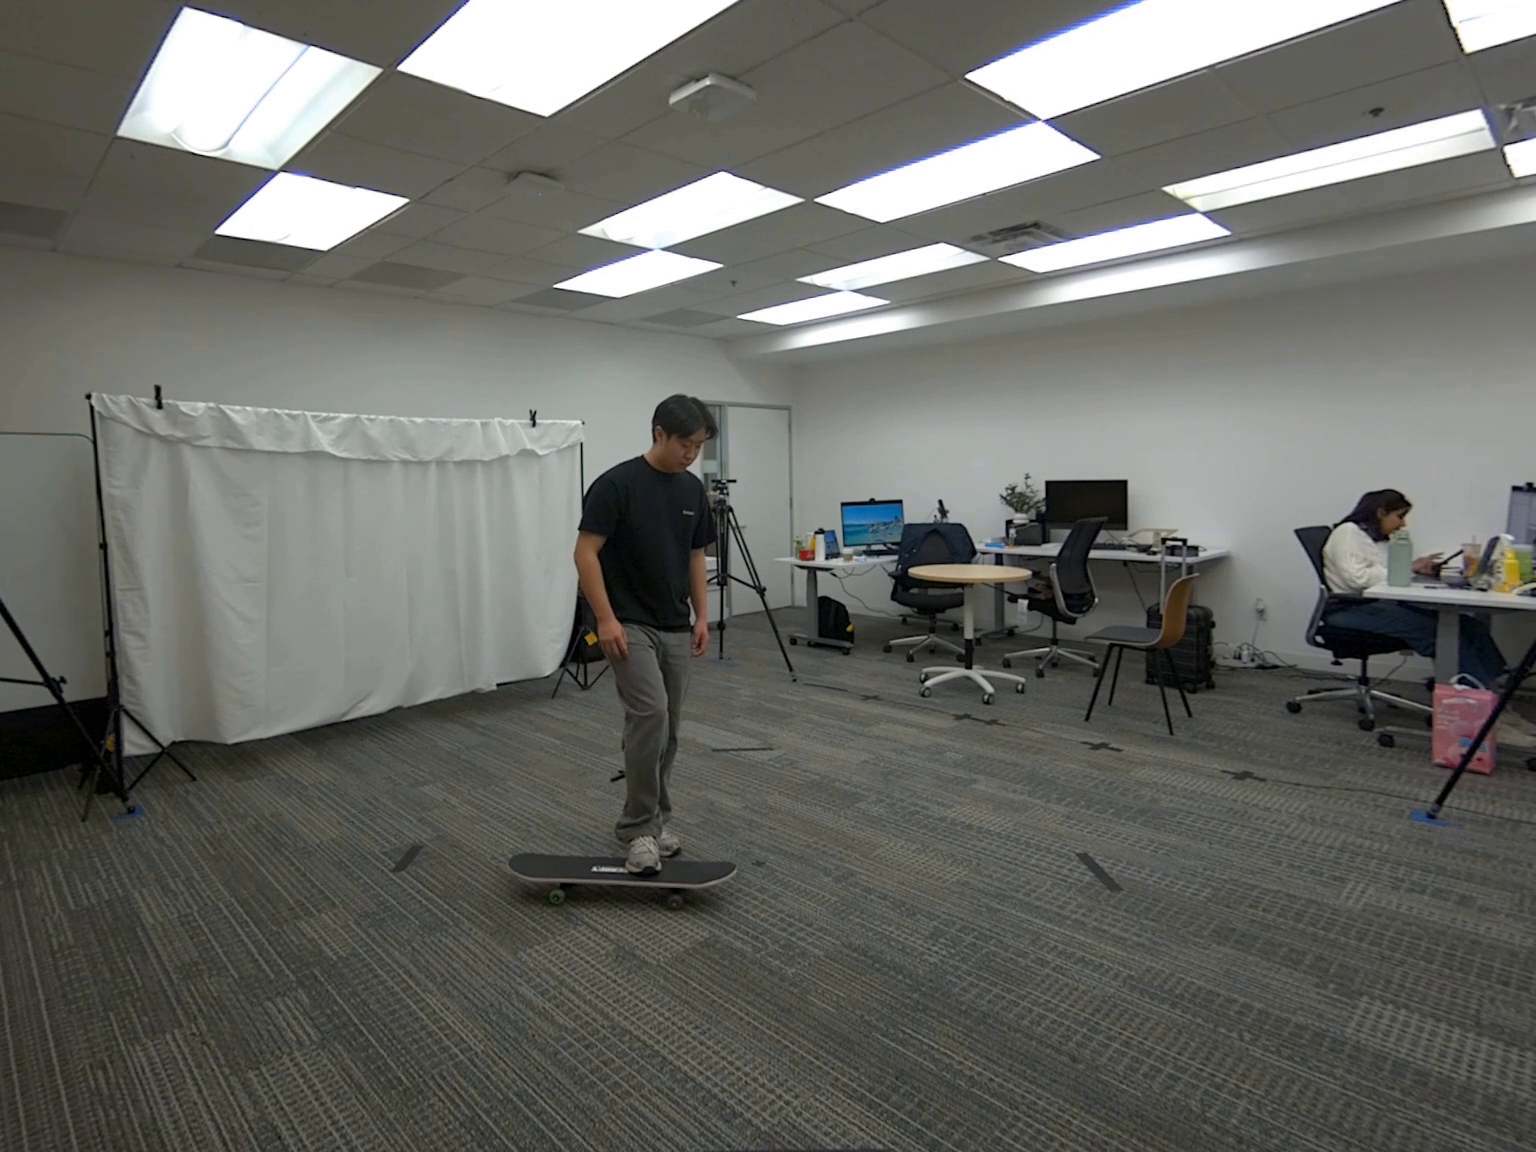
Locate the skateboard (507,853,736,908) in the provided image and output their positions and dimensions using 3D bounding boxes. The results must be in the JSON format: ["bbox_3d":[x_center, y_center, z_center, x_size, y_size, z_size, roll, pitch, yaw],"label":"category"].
[{"bbox_3d":[-0.495,1.023,2.891,0.792,0.110,0.192,0,5,8],"label":"skateboard"}]
